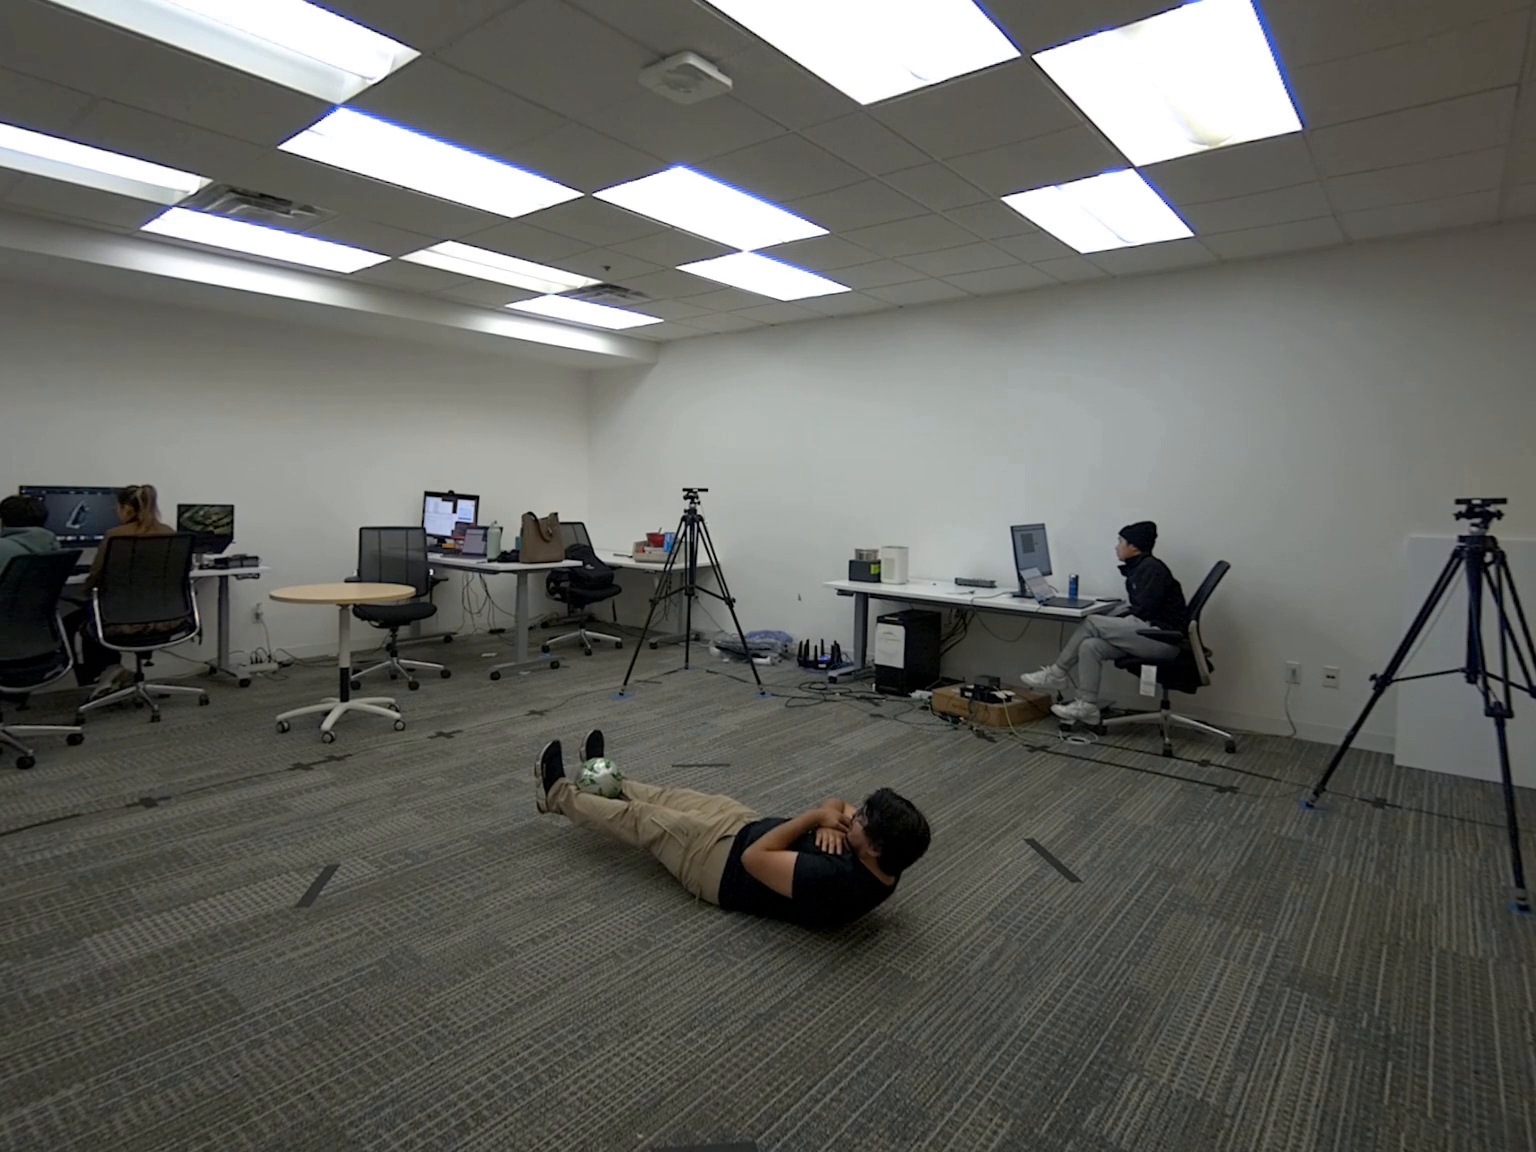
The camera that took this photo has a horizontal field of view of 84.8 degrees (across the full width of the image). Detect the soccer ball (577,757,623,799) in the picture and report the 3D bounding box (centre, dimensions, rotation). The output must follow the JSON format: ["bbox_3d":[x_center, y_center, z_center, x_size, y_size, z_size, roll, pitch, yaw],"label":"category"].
[{"bbox_3d":[-0.690,0.817,3.372,0.187,0.187,0.188,0,4,-2],"label":"soccer ball"}]
